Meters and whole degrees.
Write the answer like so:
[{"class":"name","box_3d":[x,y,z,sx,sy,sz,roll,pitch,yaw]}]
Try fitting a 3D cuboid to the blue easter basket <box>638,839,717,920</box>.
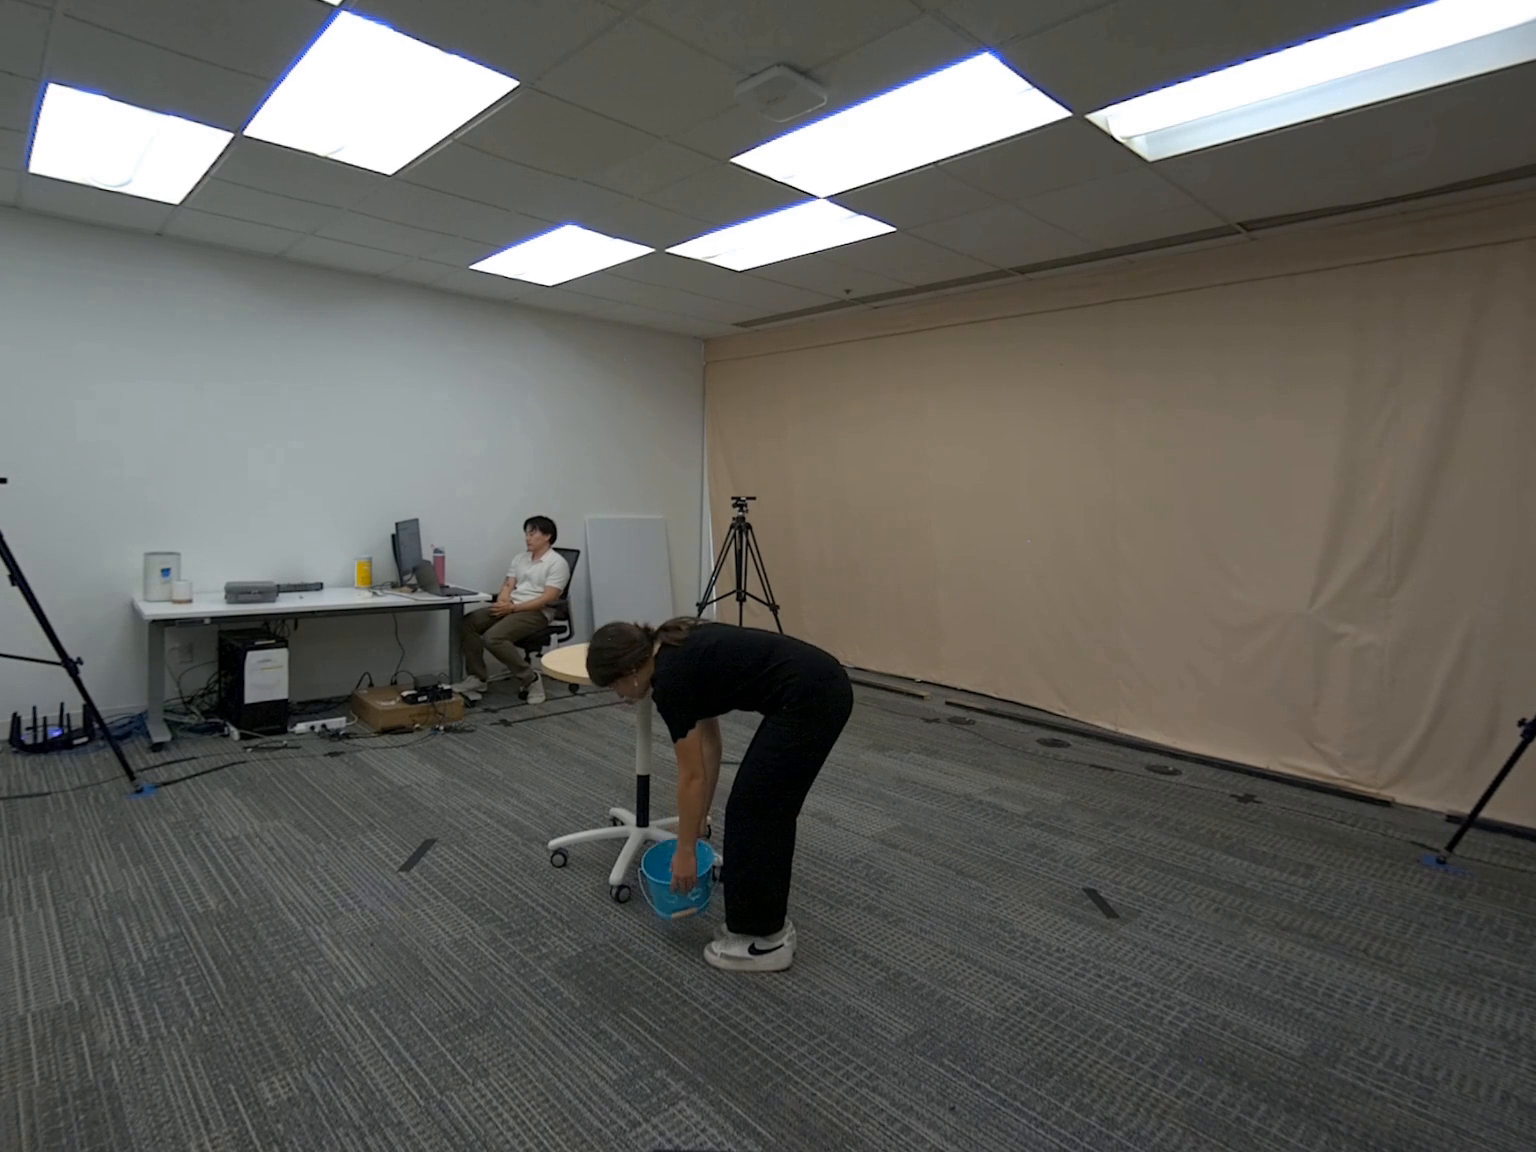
[{"class":"blue easter basket","box_3d":[-0.276,0.949,2.622,0.243,0.154,0.246,-4,13,0]}]
